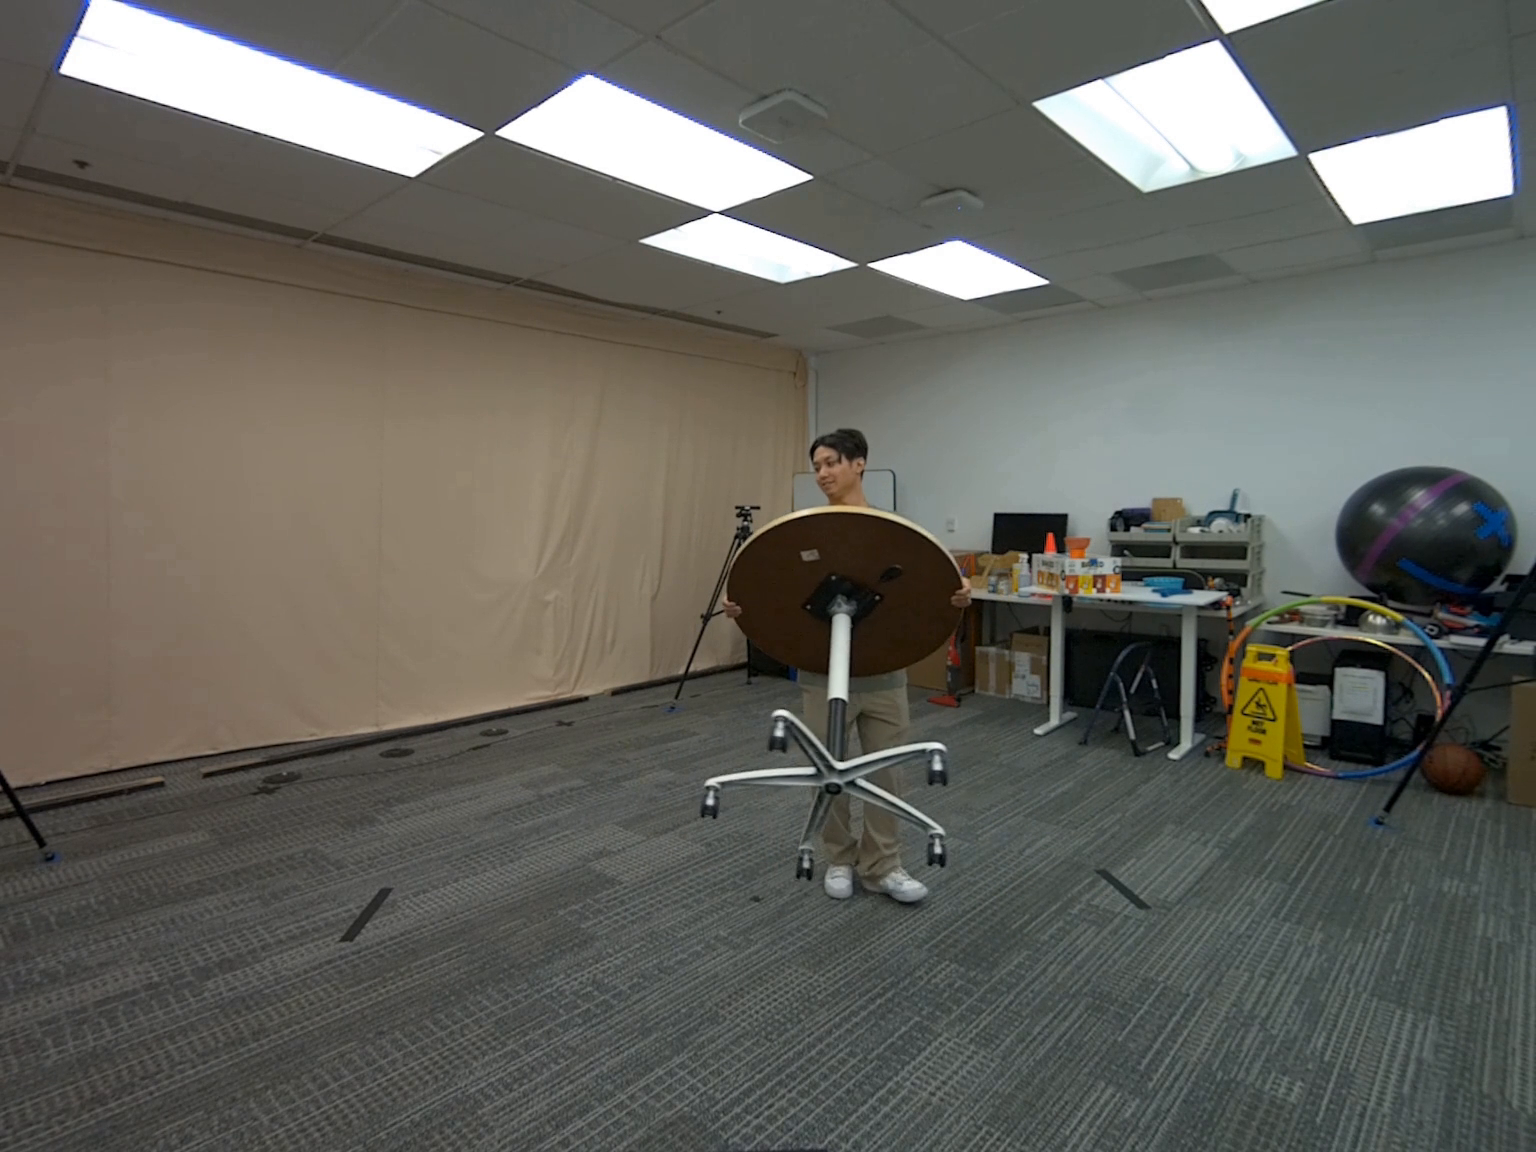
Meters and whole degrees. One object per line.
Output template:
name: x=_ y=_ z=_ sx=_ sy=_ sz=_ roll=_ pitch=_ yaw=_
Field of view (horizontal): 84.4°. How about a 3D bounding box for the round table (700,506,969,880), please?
round table: x=0.203 y=0.353 z=2.478 sx=0.794 sy=0.767 sz=0.796 roll=1 pitch=43 yaw=9
